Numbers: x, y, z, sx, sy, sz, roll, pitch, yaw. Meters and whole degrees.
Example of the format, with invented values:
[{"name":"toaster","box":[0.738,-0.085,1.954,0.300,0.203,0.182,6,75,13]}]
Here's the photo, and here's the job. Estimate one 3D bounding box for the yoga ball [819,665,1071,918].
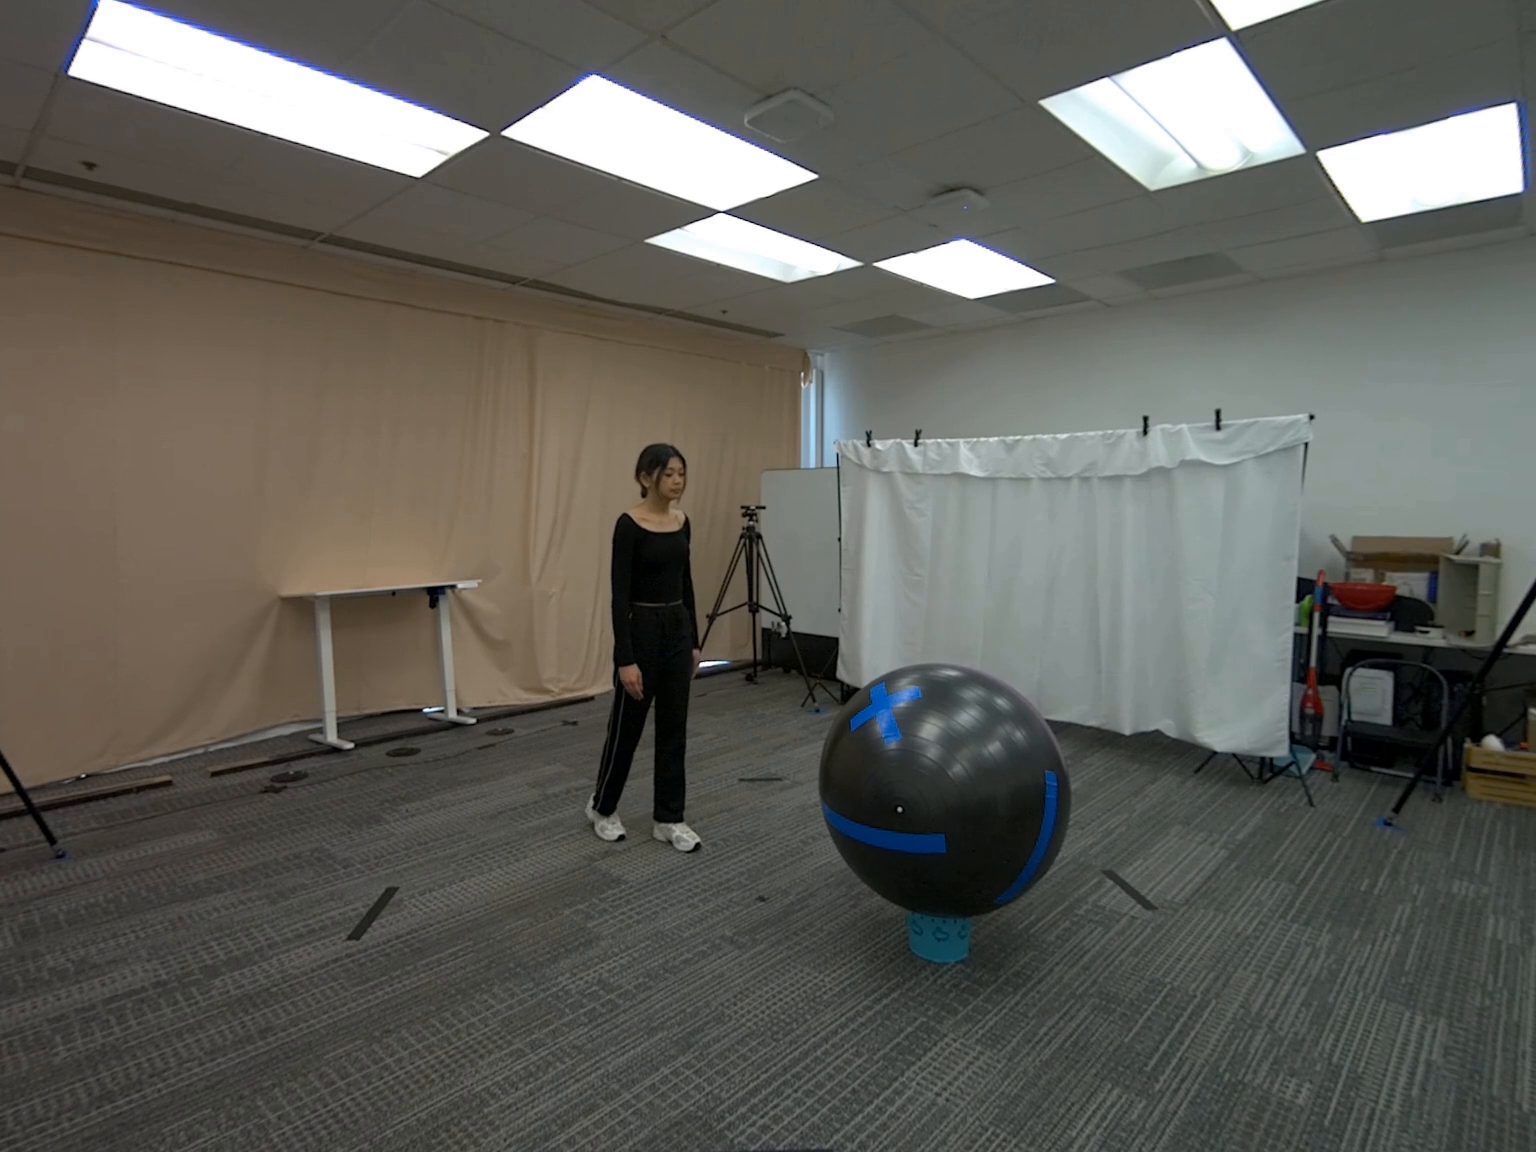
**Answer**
[{"name":"yoga ball","box":[0.544,0.657,2.636,0.757,0.756,0.760,0,4,-2]}]
